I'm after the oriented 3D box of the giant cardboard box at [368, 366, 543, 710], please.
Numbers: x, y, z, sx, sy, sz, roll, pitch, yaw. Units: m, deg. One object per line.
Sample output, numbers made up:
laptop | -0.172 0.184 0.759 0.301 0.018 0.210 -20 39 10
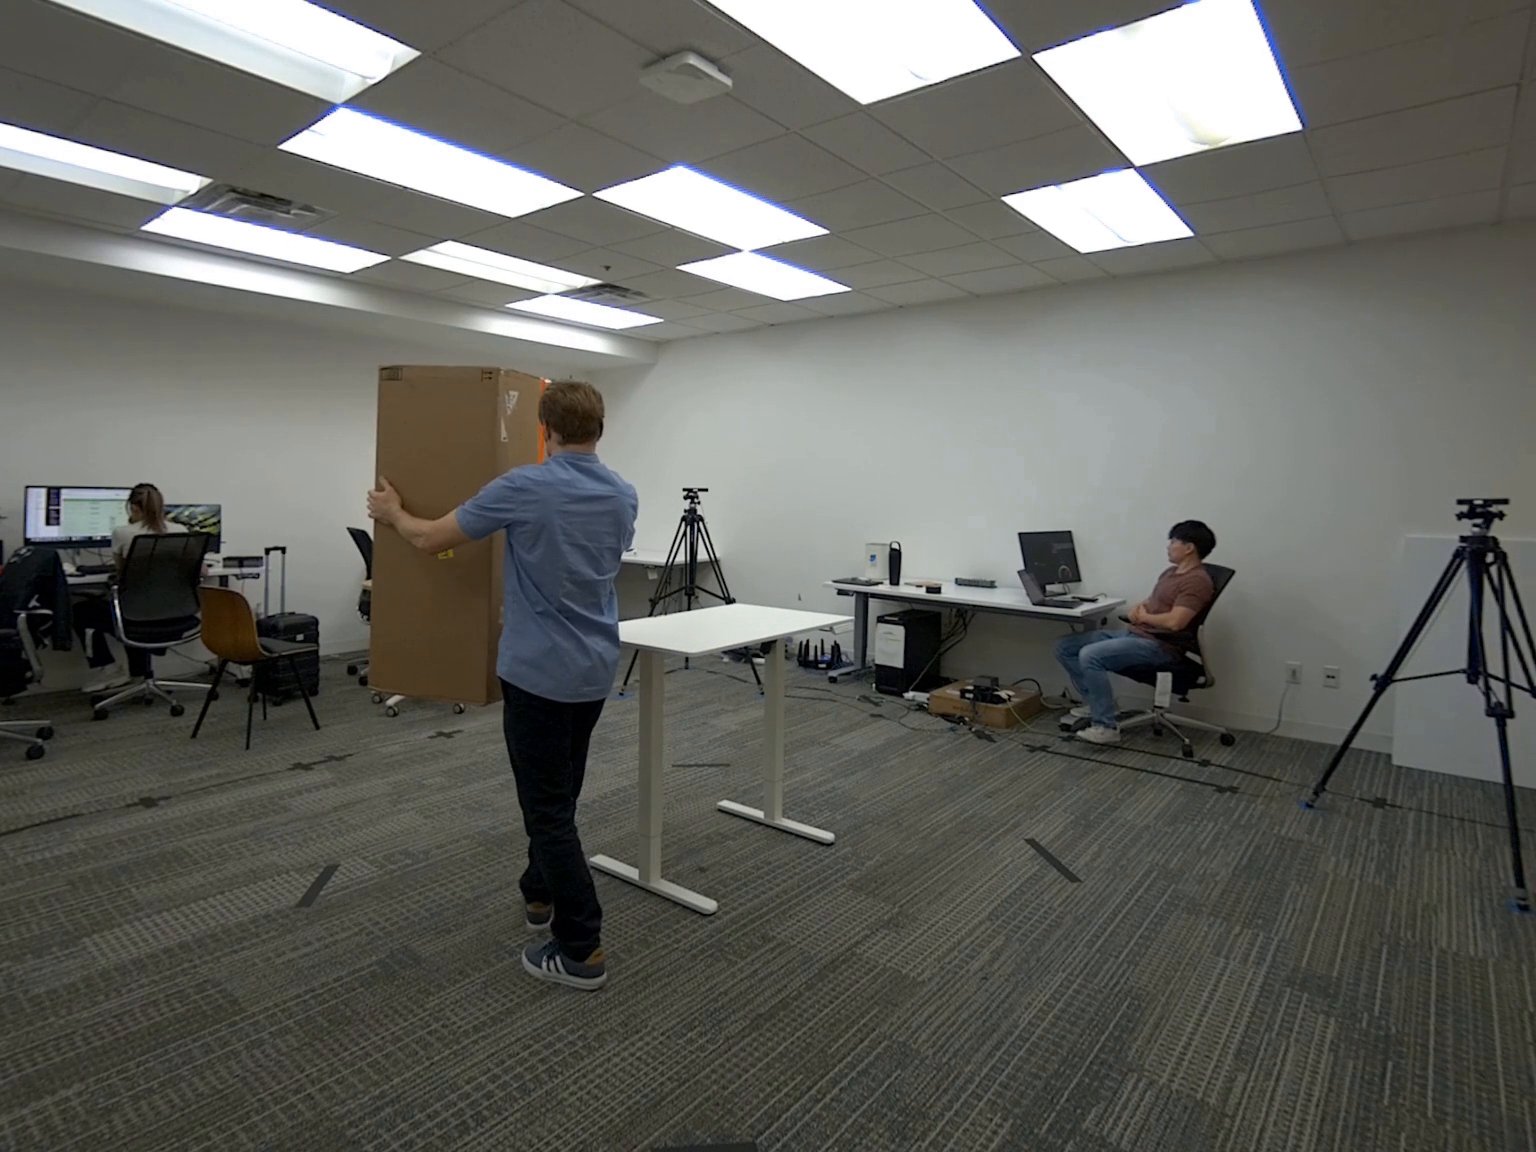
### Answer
giant cardboard box | -0.982 -0.161 2.864 0.434 1.023 0.569 4 4 14
